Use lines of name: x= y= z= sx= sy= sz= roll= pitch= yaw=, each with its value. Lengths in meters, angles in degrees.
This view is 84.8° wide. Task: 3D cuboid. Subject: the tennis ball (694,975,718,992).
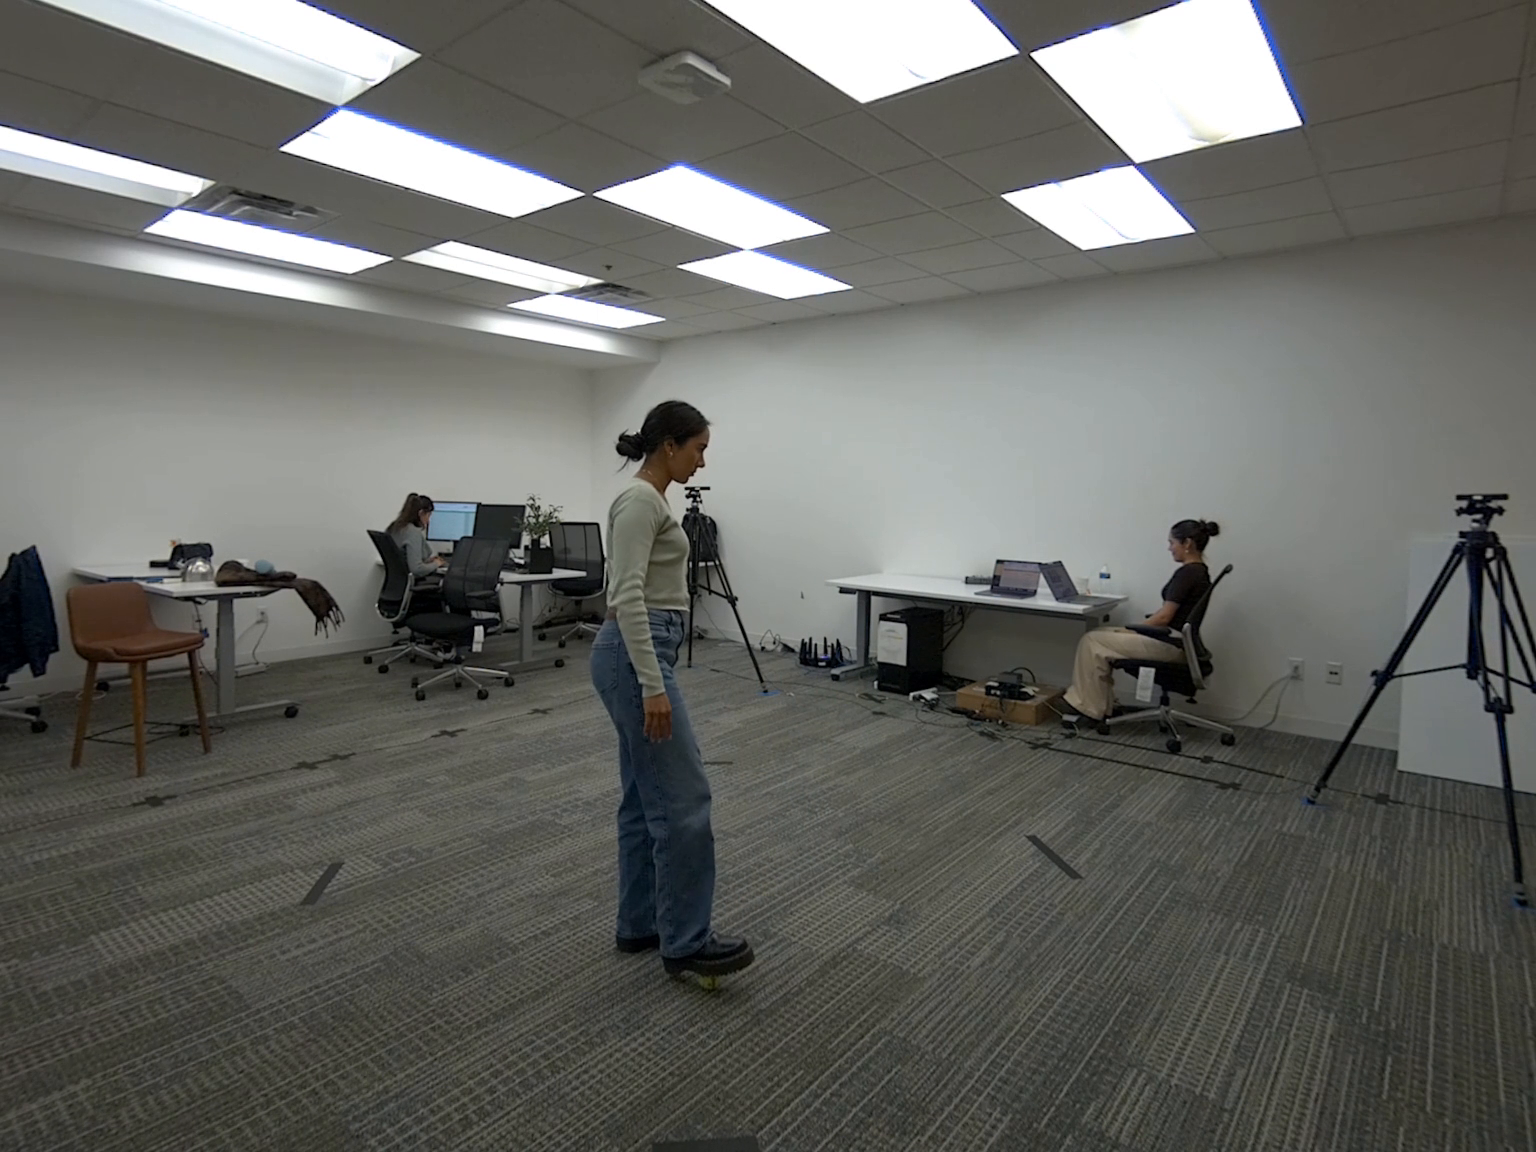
tennis ball: x=-0.171 y=1.116 z=2.359 sx=0.066 sy=0.066 sz=0.067 roll=1 pitch=4 yaw=-2
